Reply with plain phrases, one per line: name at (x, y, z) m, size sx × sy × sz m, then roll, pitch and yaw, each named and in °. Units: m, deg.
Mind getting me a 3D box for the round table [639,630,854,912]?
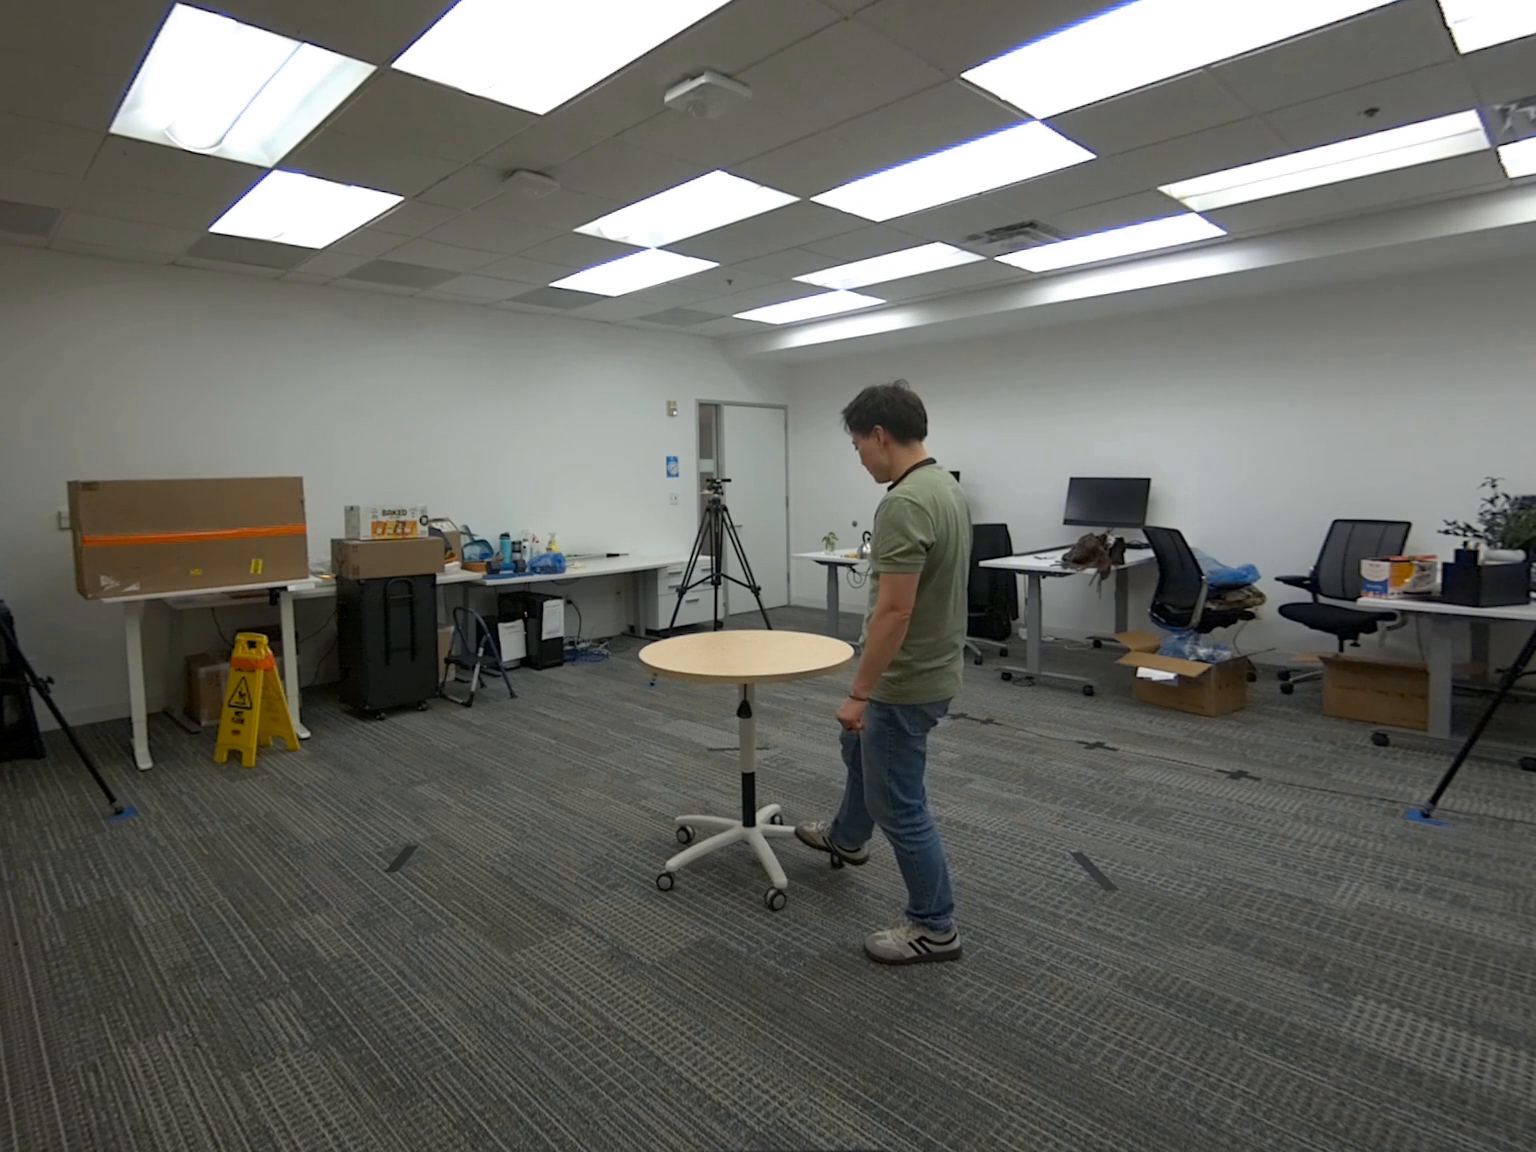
round table at (-0.074, 0.657, 3.091) m, size 0.763 × 0.791 × 0.768 m, roll -1°, pitch 5°, yaw -2°
